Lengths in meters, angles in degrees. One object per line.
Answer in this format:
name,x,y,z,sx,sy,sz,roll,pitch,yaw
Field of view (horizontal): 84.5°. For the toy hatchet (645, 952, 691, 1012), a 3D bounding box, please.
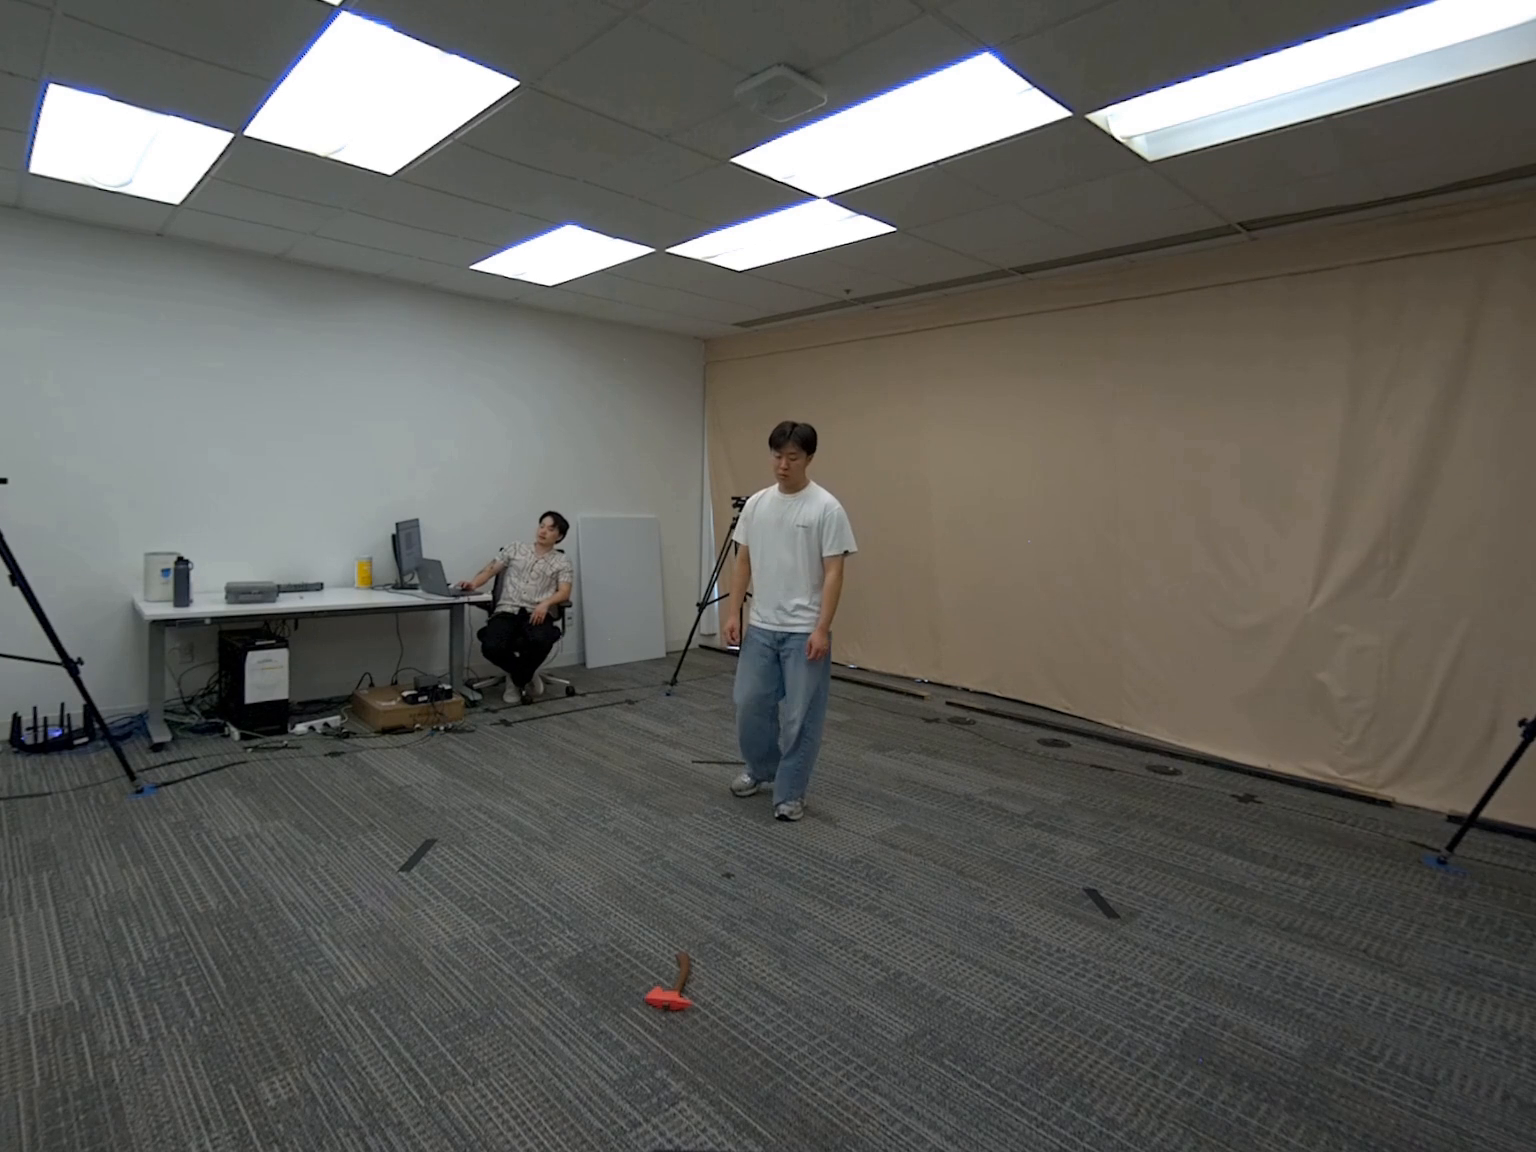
toy hatchet,-0.291,1.155,2.403,0.130,0.029,0.272,-3,3,-7
